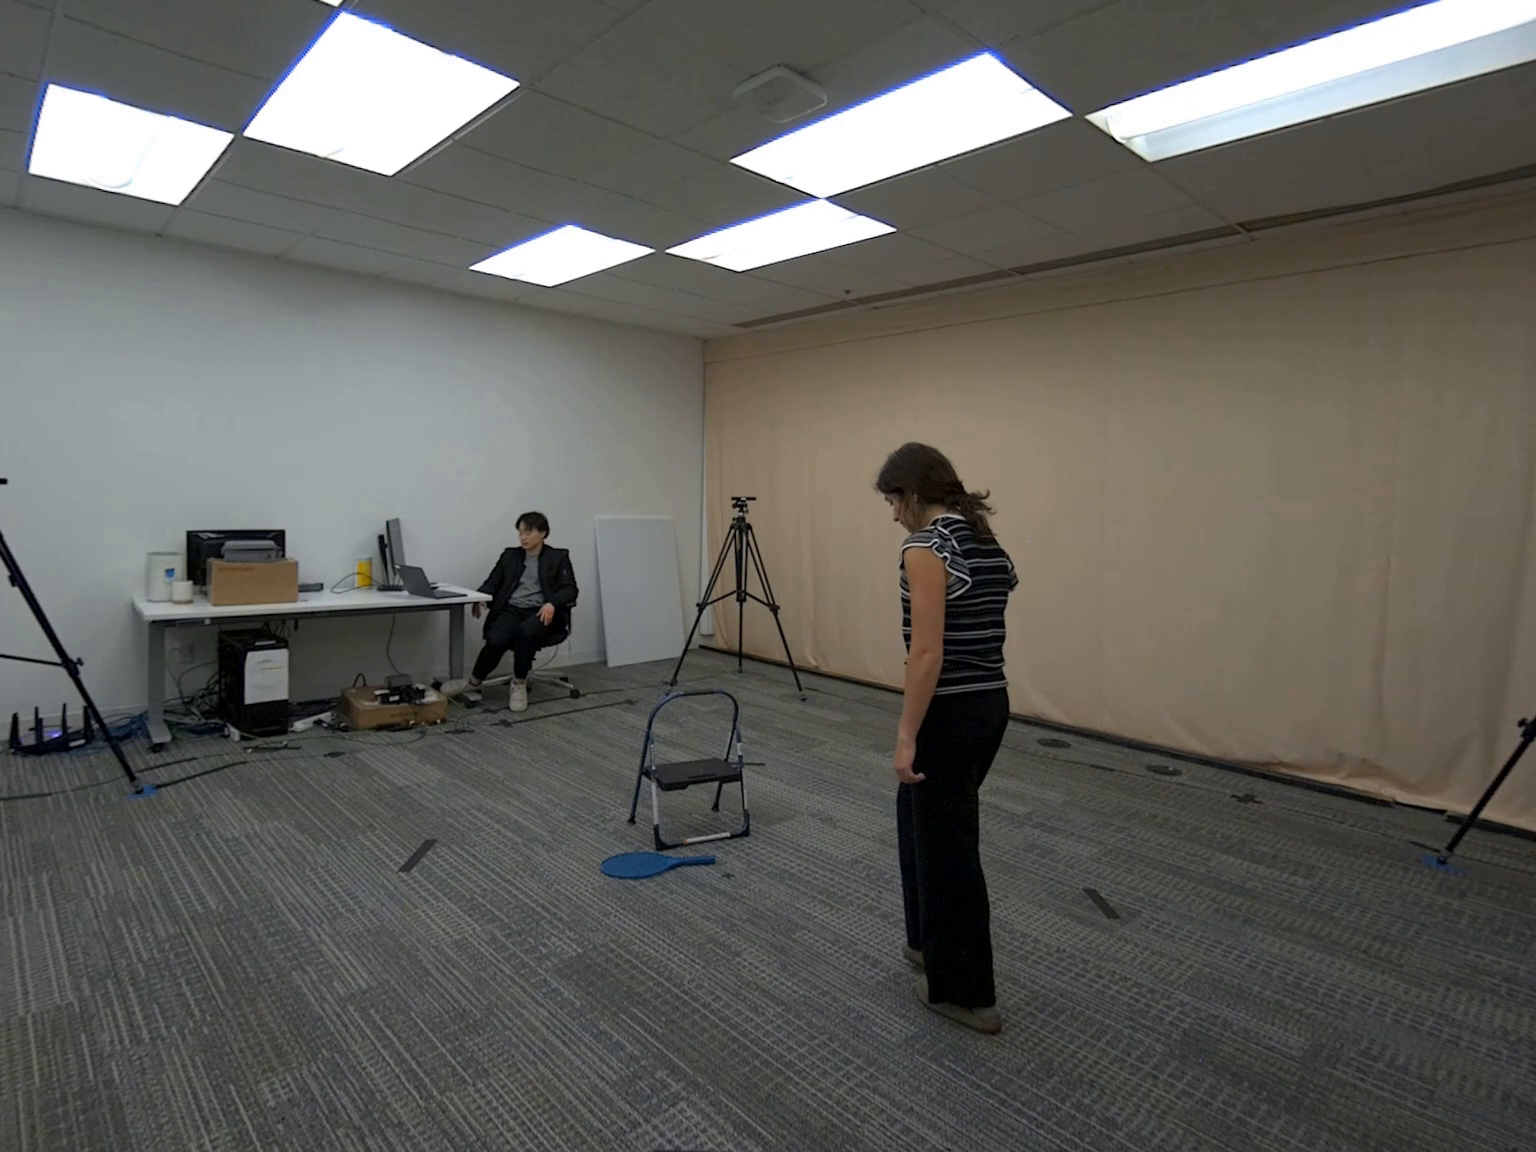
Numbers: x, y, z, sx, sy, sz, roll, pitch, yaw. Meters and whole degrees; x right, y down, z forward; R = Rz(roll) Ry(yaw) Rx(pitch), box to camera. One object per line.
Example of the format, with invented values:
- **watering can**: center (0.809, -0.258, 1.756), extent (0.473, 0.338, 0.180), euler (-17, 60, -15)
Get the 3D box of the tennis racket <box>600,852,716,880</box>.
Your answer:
- **tennis racket**: center (-0.422, 1.082, 3.170), extent (0.430, 0.031, 0.216), euler (0, 7, -8)
